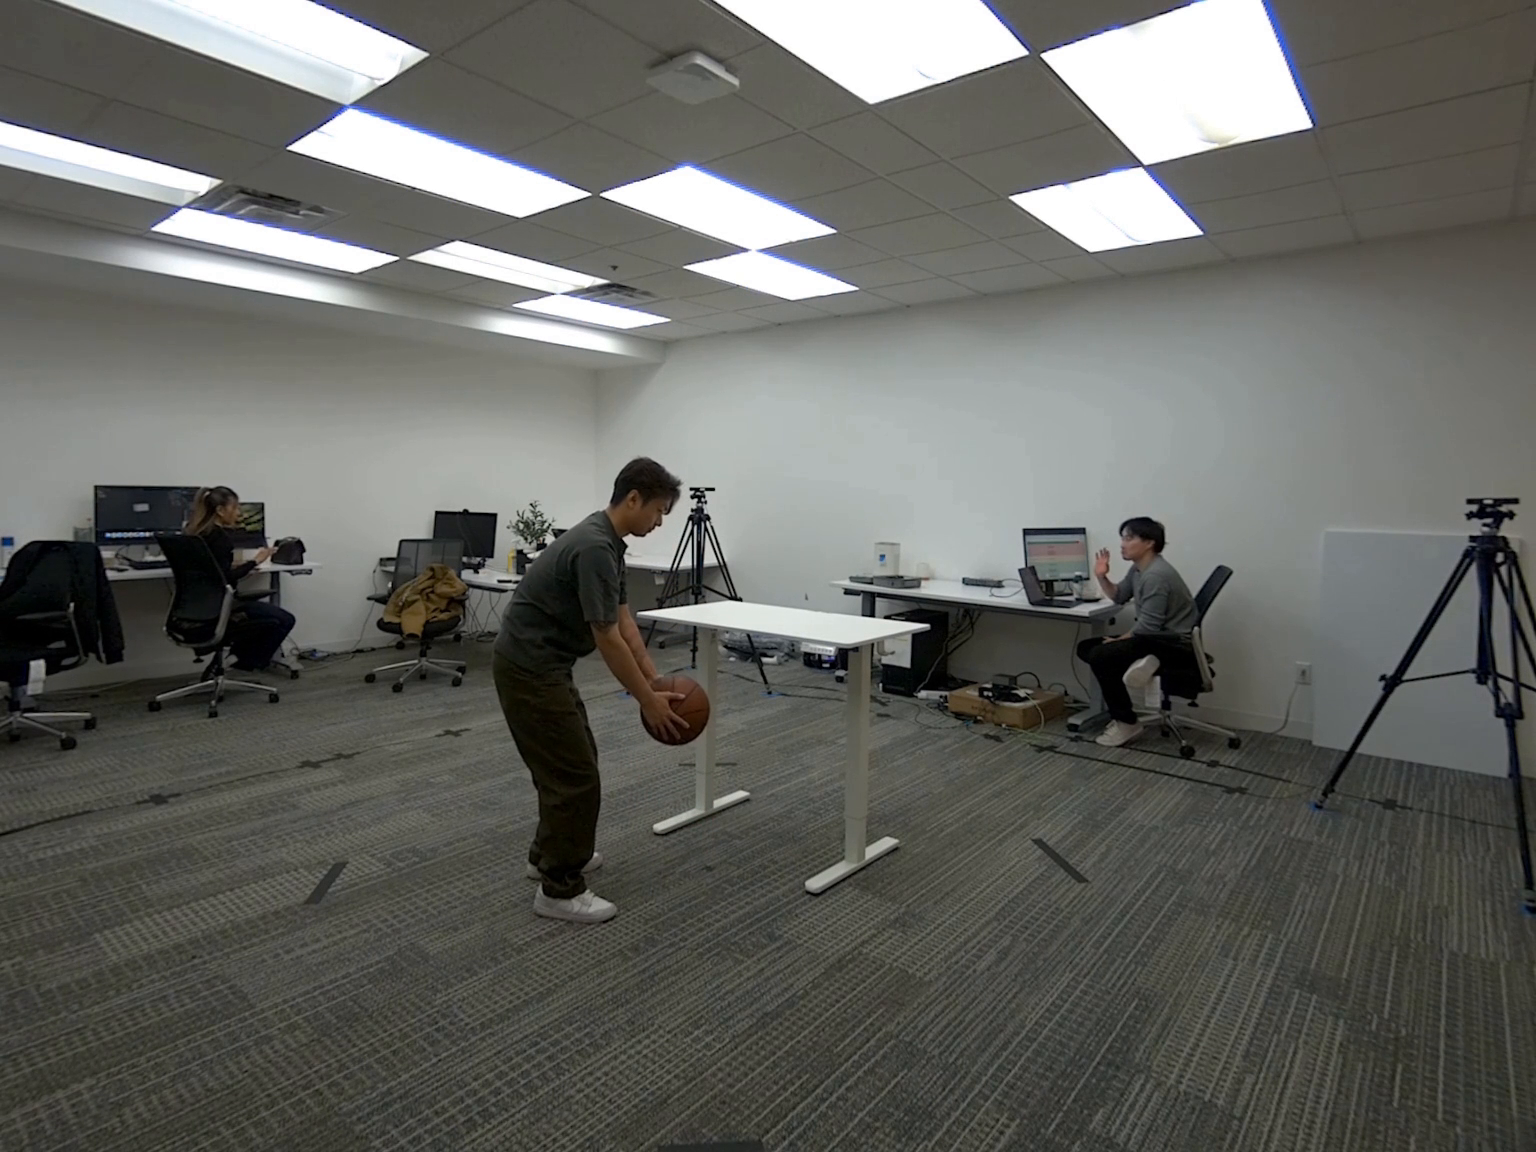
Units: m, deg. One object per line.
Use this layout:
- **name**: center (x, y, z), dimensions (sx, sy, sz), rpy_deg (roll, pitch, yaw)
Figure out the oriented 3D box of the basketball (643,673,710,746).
- **basketball**: center (-0.332, 0.450, 2.907), dimensions (0.235, 0.235, 0.237), rpy_deg (1, 4, -2)
